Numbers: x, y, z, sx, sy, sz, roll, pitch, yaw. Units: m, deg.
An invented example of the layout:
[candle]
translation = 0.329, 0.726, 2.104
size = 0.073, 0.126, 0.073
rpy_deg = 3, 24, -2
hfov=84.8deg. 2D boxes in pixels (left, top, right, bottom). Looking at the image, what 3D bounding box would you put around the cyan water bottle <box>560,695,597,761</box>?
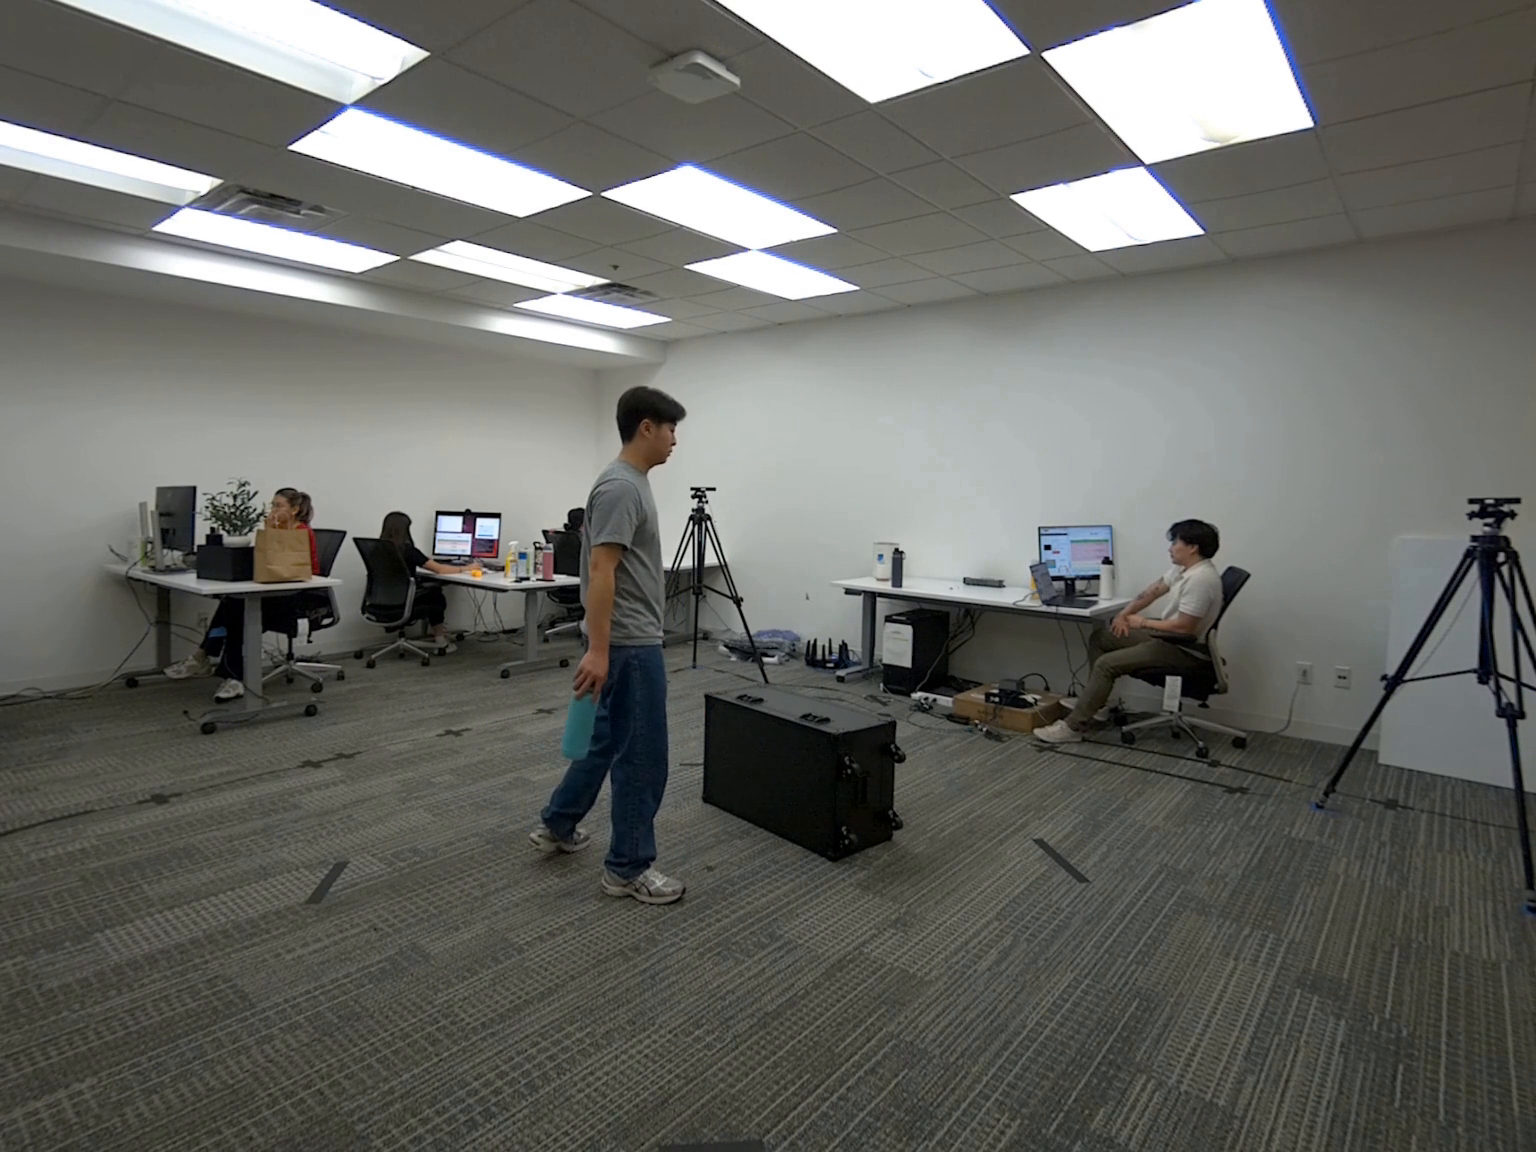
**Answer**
[cyan water bottle]
translation = -0.588, 0.437, 2.723
size = 0.092, 0.282, 0.093
rpy_deg = 7, 6, -3
